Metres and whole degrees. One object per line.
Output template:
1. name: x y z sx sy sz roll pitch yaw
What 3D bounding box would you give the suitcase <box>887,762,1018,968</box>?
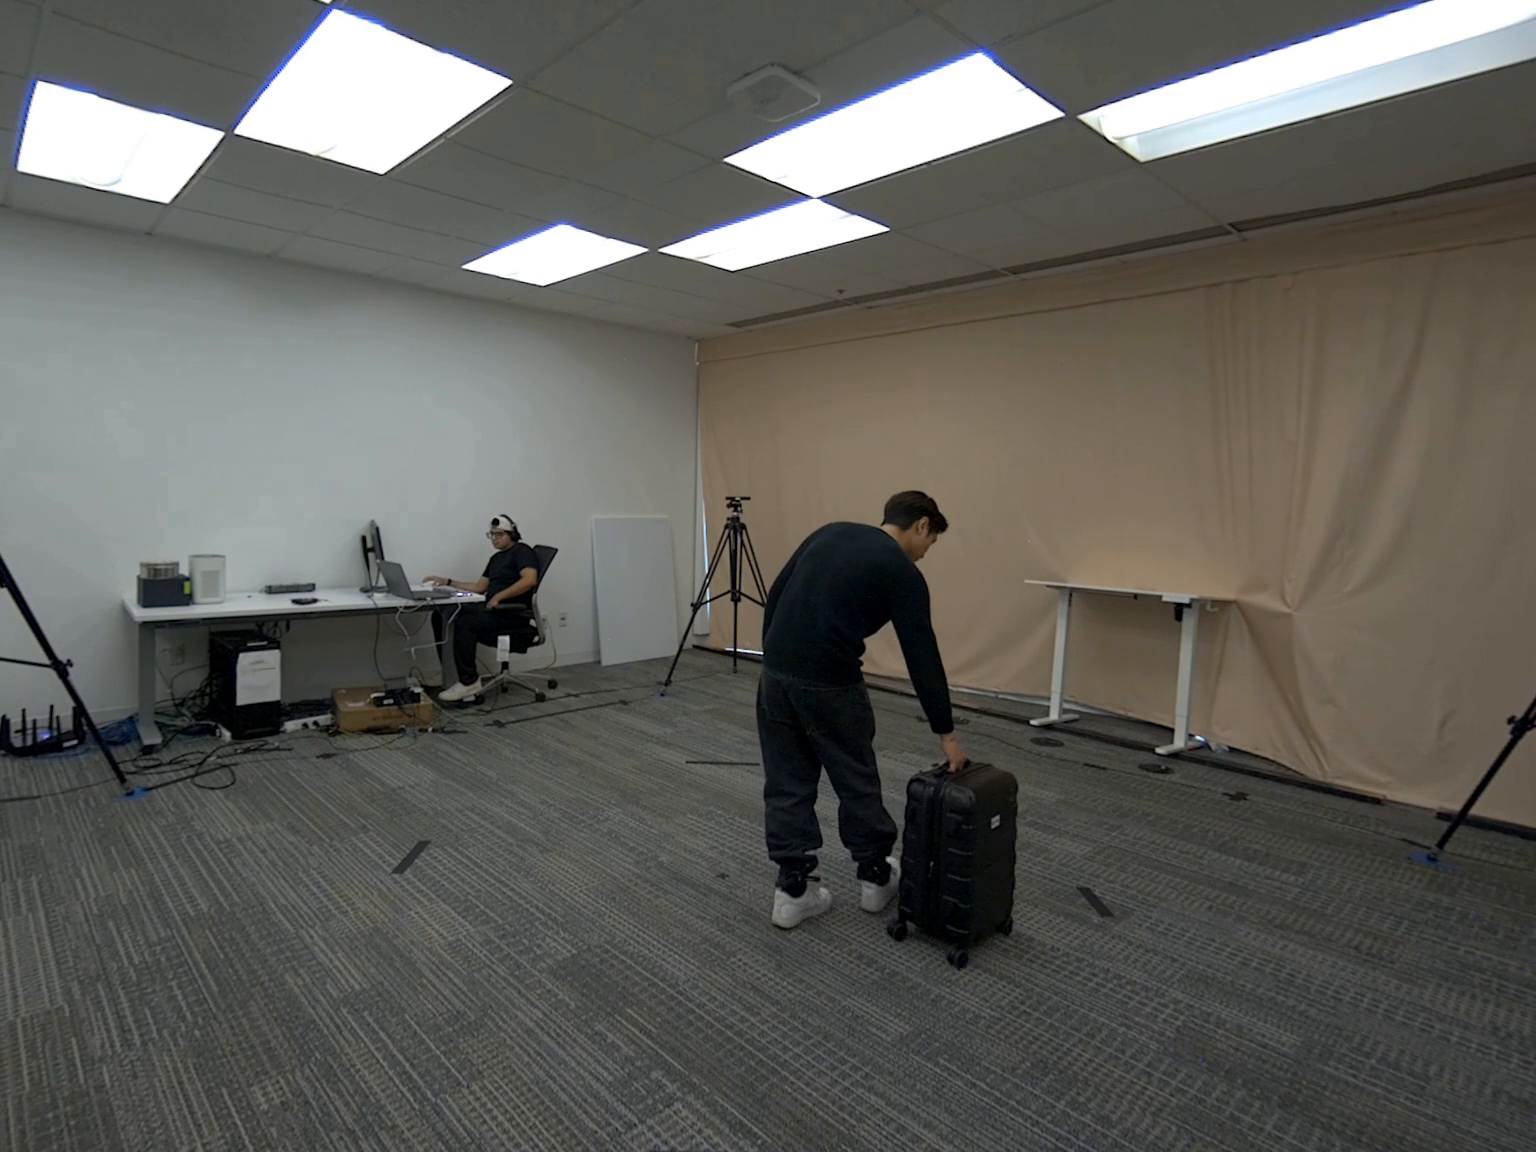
1. suitcase: 0.618 0.885 2.709 0.255 0.548 0.366 5 4 43
